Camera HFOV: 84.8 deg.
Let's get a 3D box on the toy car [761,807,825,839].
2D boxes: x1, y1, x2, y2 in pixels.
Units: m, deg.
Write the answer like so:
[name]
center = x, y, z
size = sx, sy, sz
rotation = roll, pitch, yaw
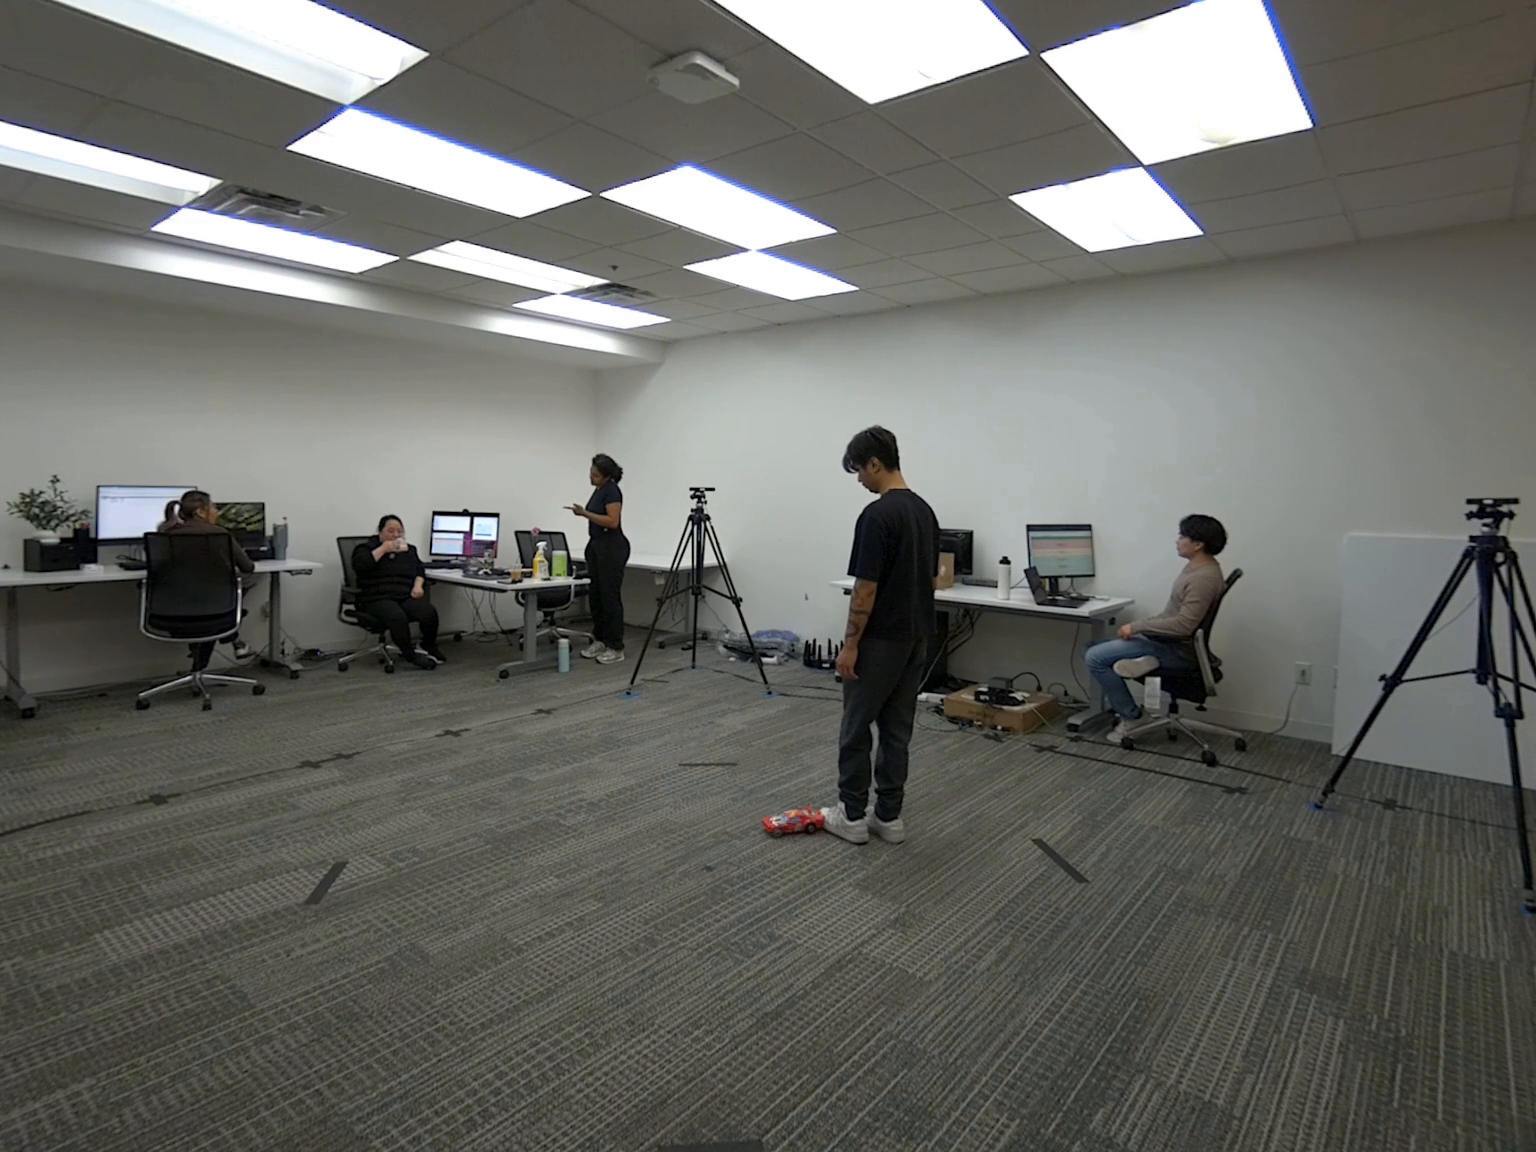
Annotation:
[toy car]
center = 0.098, 1.005, 3.484
size = 0.251, 0.082, 0.133
rotation = -13, 9, -15
